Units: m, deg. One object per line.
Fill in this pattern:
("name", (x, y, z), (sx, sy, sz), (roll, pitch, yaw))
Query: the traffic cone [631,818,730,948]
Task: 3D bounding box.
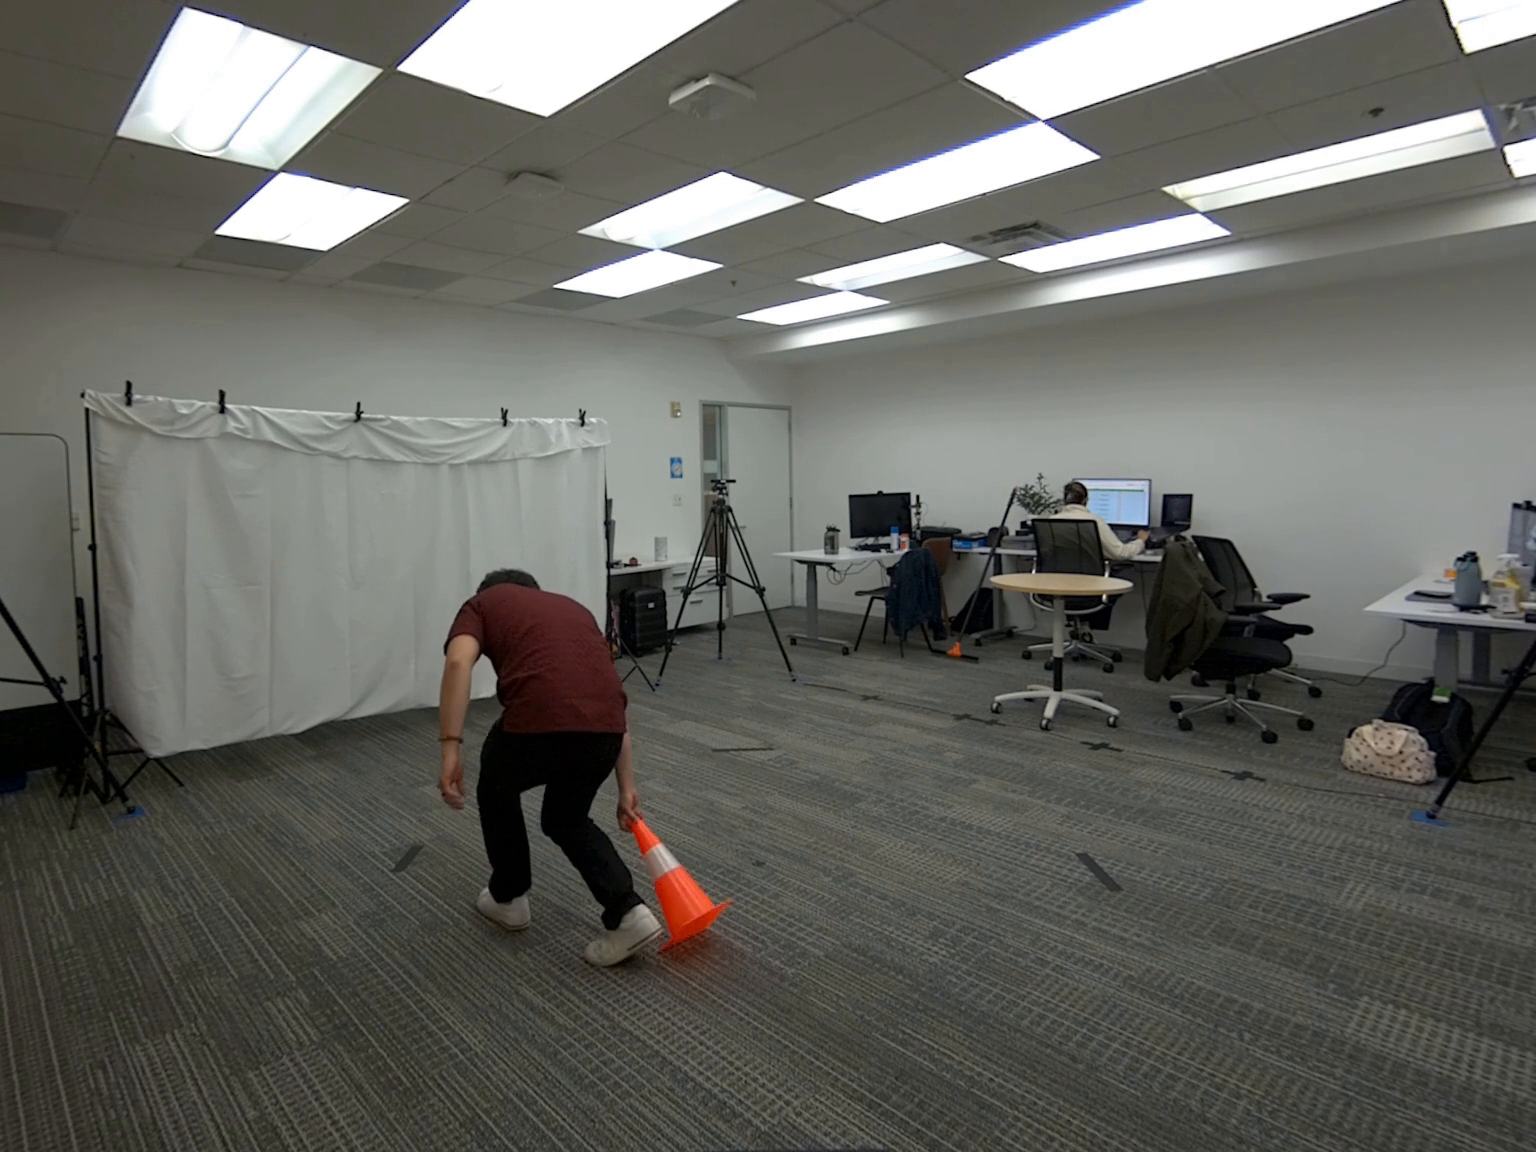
("traffic cone", (-0.324, 0.910, 2.634), (0.200, 0.202, 0.396), (-9, 51, -46))
